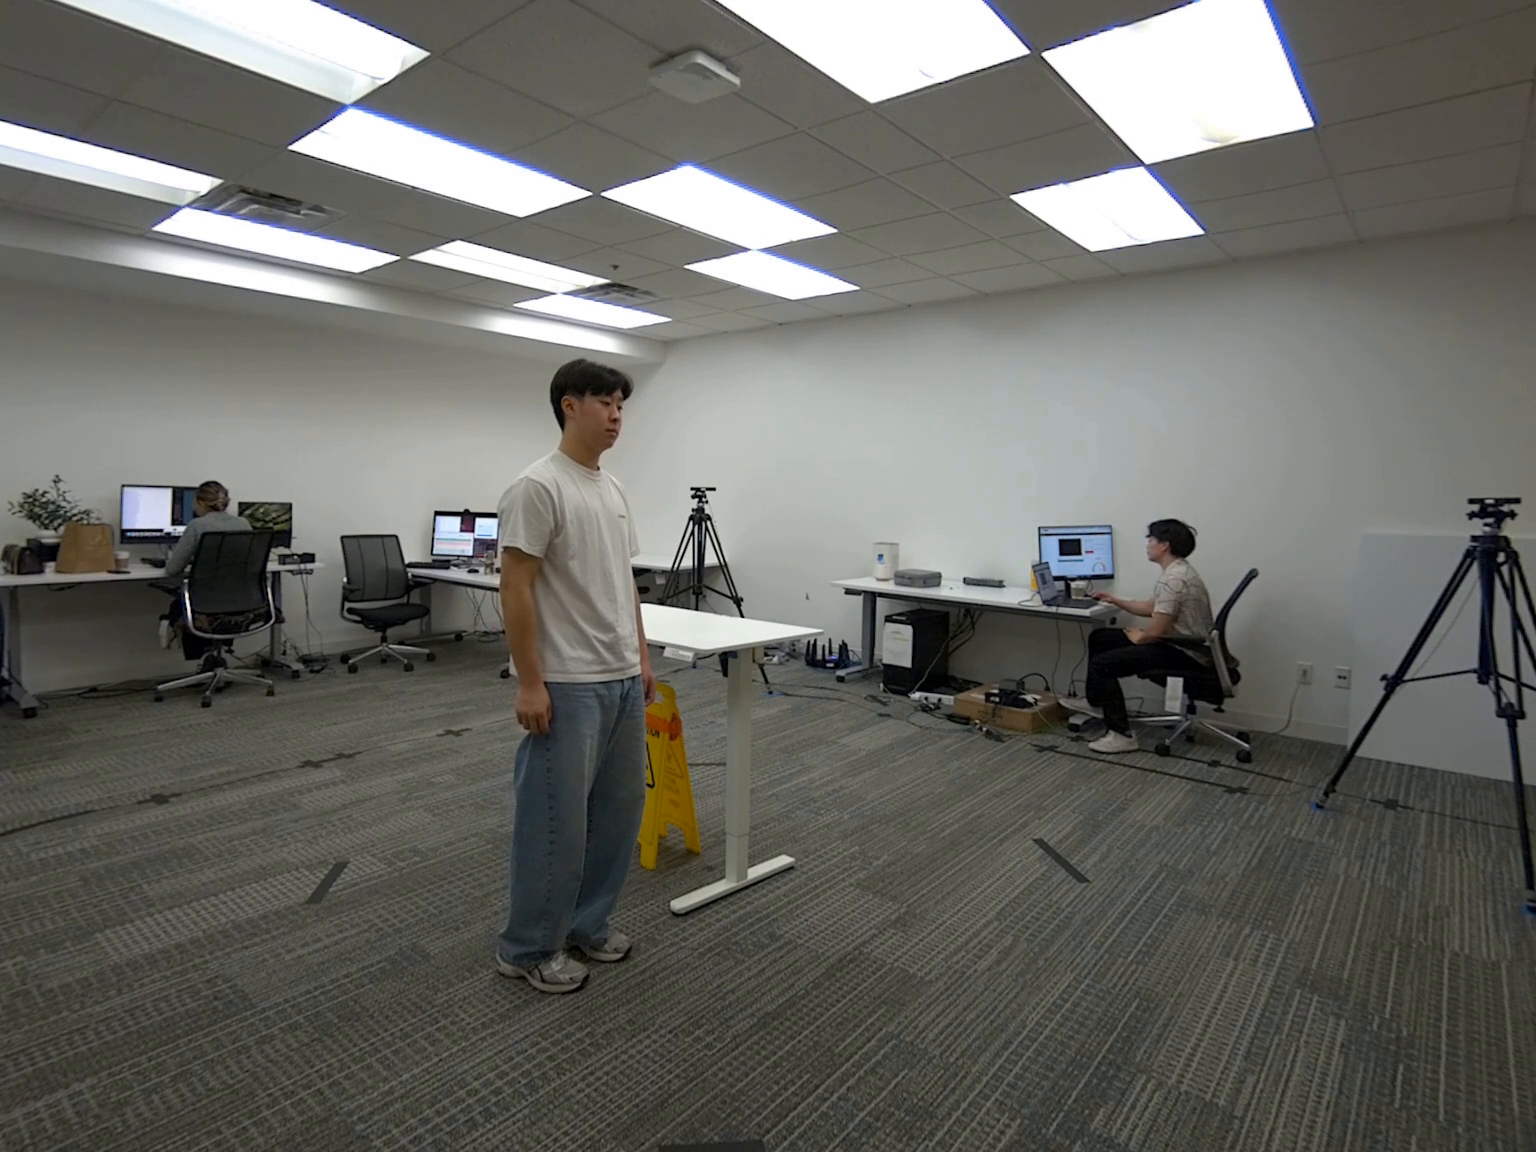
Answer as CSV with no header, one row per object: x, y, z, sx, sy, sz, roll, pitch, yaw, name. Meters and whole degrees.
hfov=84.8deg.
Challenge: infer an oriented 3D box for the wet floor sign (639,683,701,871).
-0.441,0.722,3.237,0.281,0.645,0.292,-1,4,-45,wet floor sign
